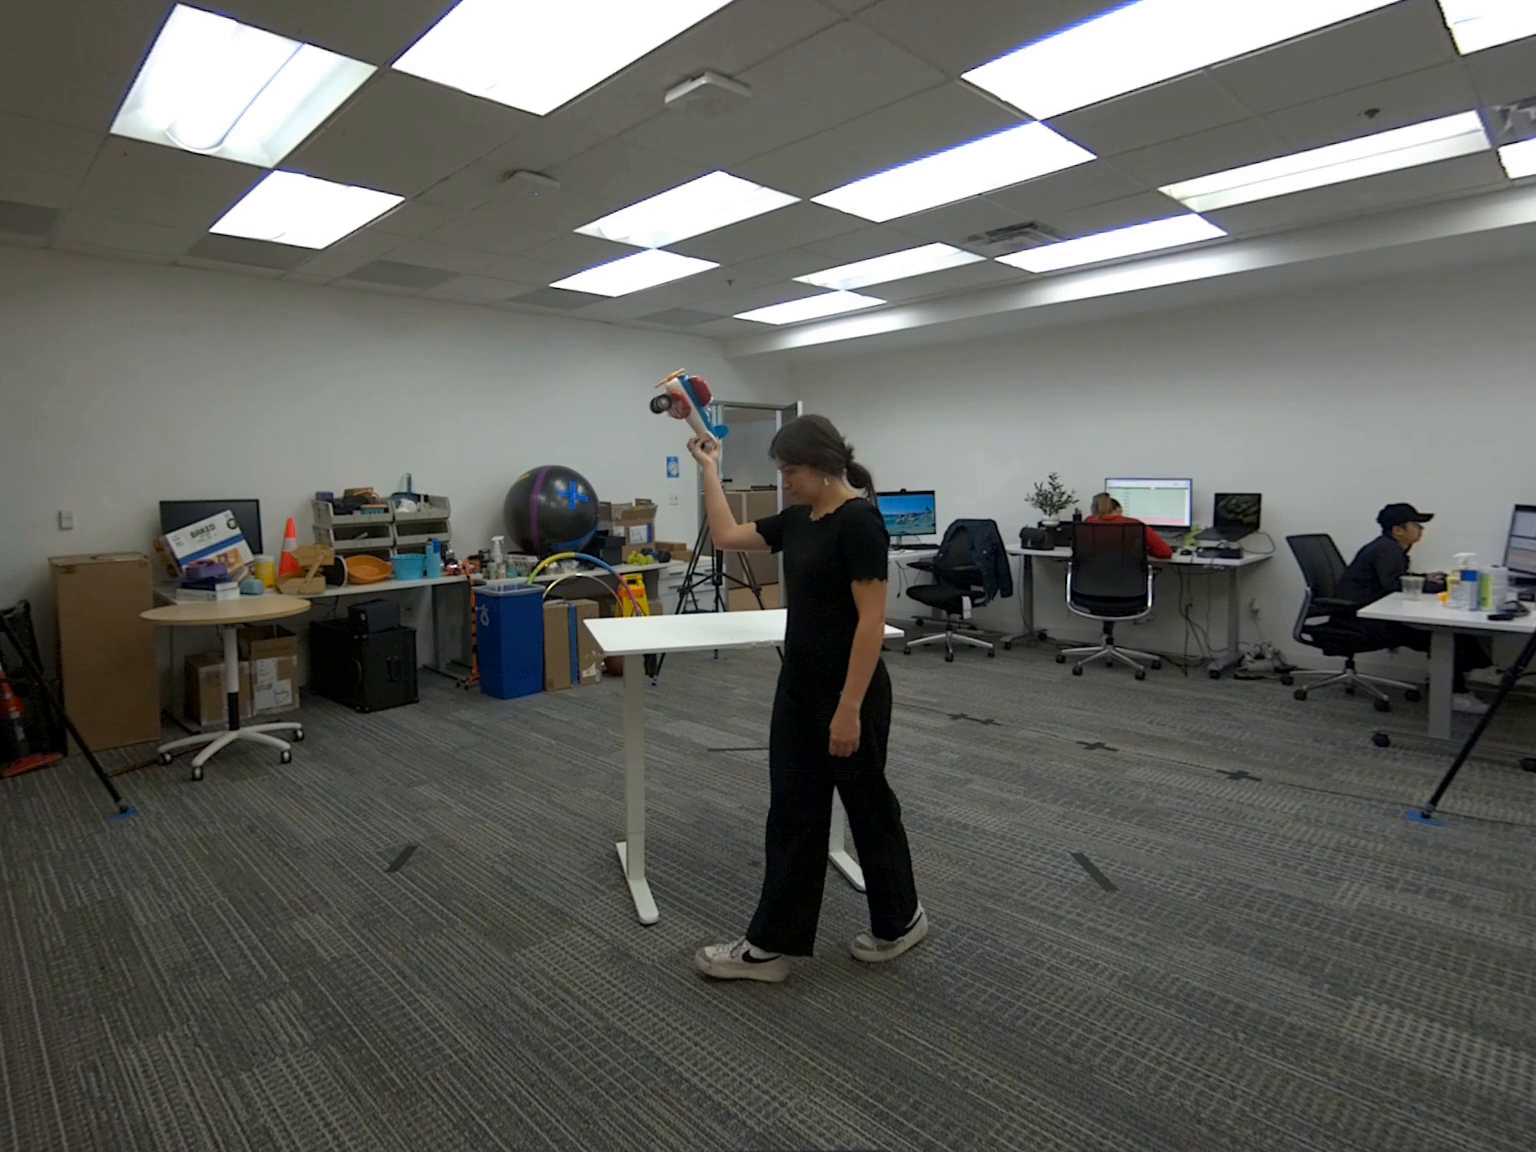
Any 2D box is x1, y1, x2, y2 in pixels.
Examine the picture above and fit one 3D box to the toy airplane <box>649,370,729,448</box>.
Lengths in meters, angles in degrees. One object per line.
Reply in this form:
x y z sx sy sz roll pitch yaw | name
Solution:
-0.253 -0.526 2.723 0.261 0.156 0.249 34 -11 48 | toy airplane
